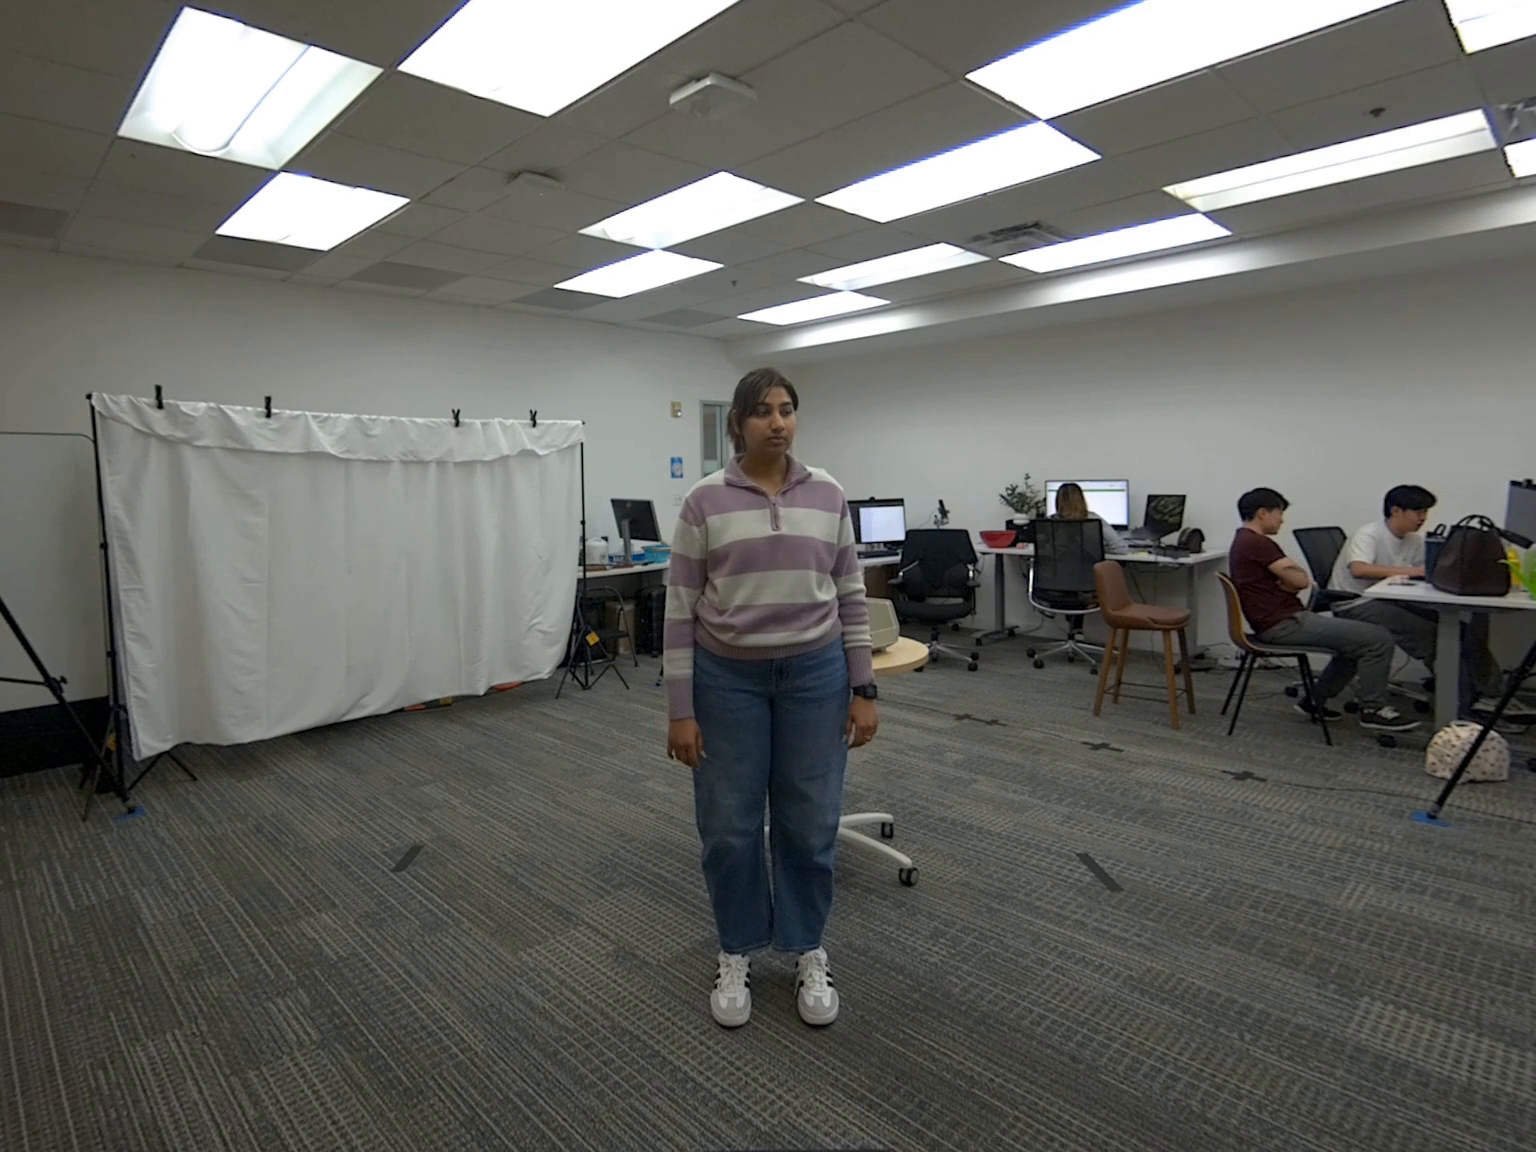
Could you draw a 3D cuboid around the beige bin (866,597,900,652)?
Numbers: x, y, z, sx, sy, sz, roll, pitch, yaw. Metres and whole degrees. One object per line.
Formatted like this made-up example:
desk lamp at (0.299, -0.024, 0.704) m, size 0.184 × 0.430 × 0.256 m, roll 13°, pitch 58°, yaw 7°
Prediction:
beige bin at (0.186, 0.187, 2.970) m, size 0.389 × 0.188 × 0.411 m, roll 3°, pitch 7°, yaw 45°
